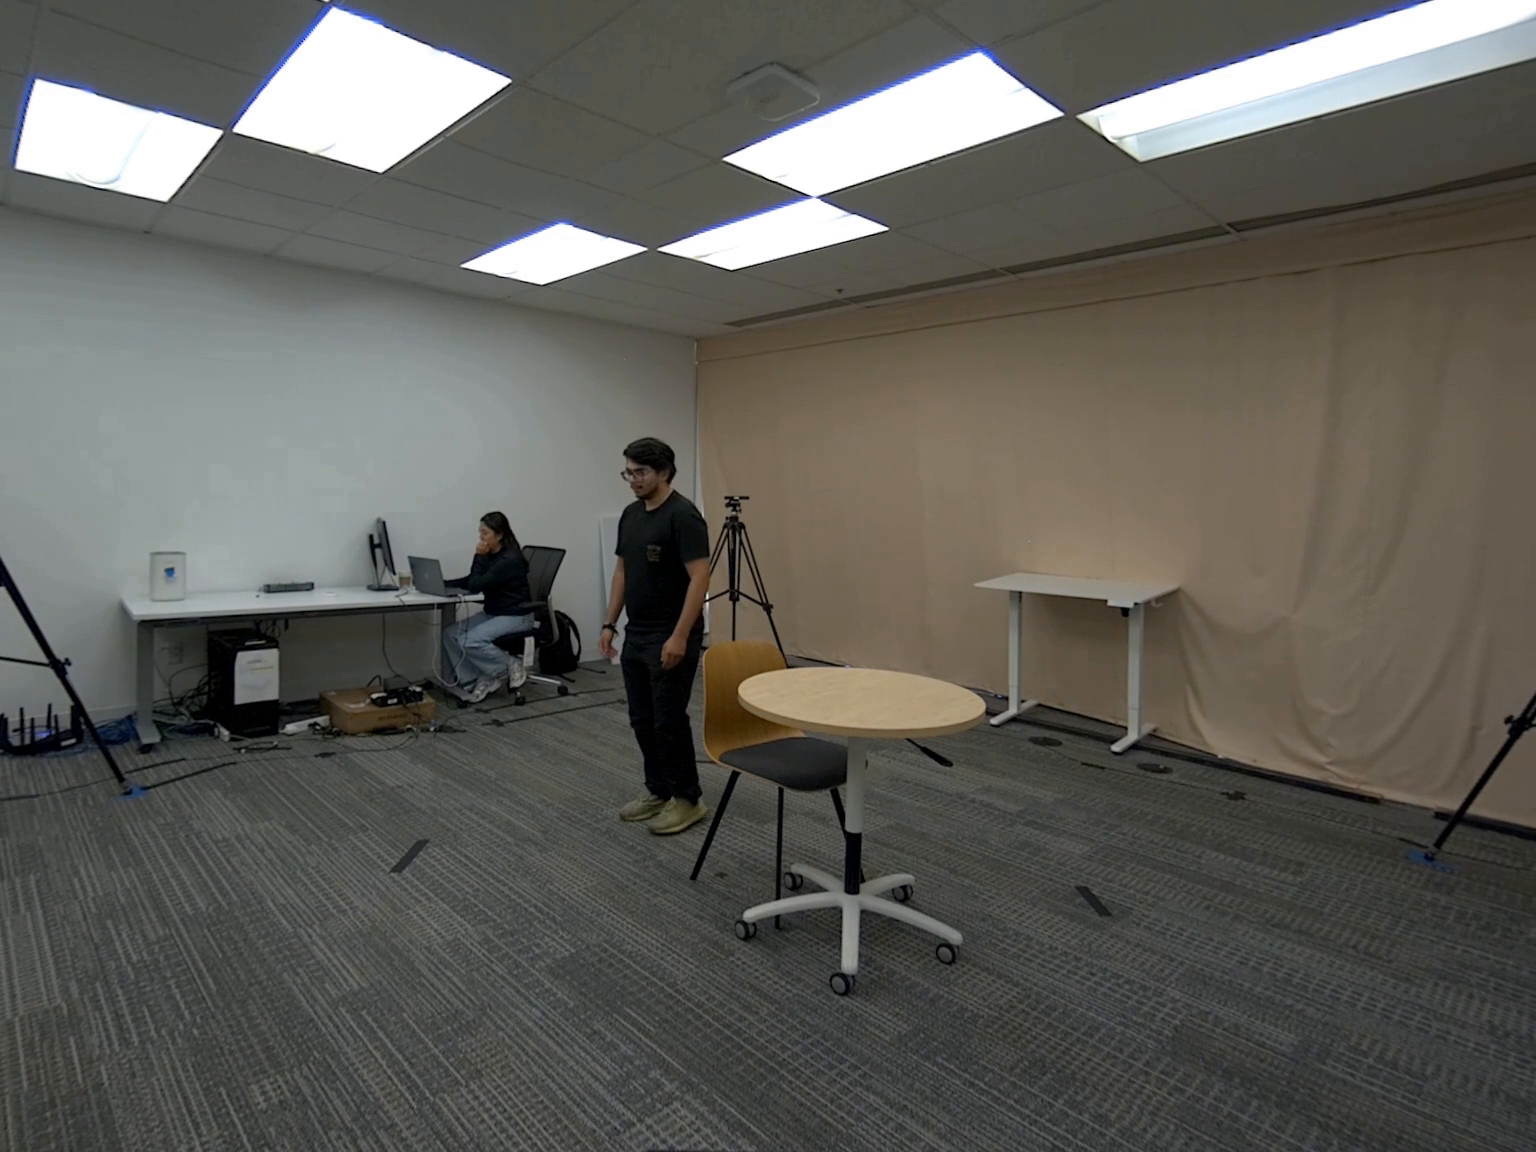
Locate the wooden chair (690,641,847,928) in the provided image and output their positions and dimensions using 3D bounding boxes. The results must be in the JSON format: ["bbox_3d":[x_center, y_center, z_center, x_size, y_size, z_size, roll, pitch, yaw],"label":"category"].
[{"bbox_3d":[0.043,0.689,2.992,0.467,0.878,0.535,-1,0,-42],"label":"wooden chair"}]
